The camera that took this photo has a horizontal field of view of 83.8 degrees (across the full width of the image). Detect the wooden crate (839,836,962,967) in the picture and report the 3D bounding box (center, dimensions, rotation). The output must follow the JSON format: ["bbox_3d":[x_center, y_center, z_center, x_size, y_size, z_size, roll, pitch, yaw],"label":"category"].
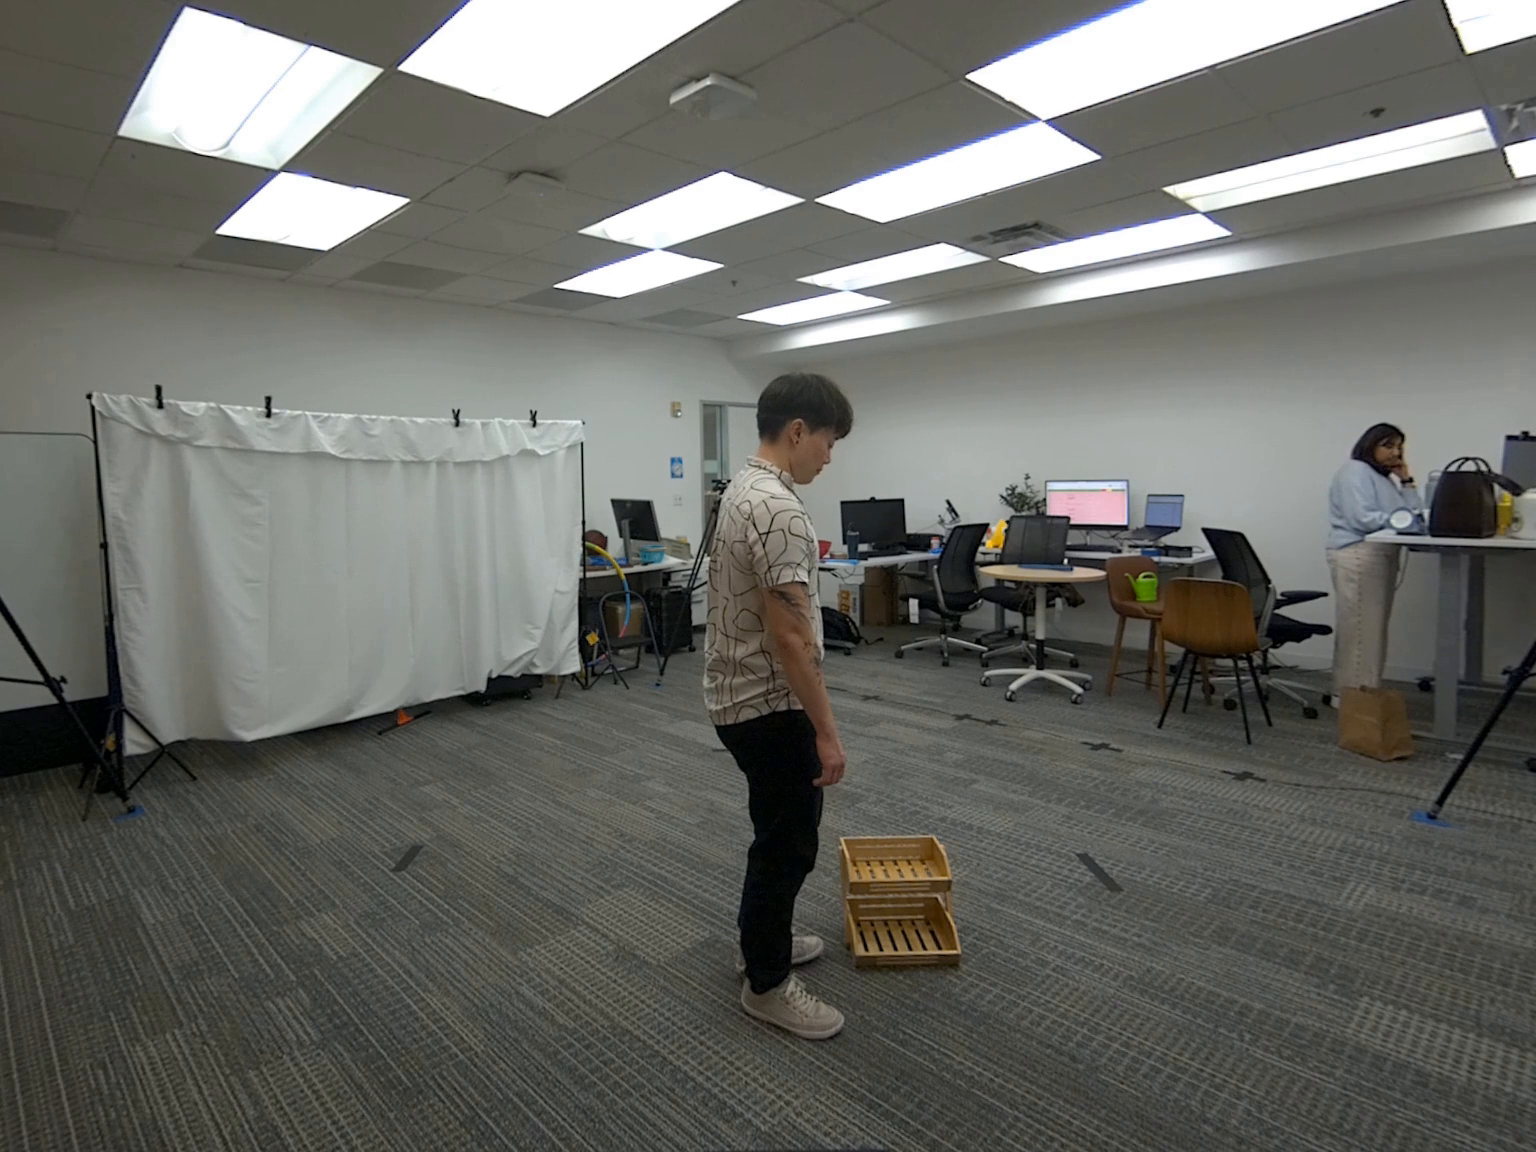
[{"bbox_3d":[0.396,0.970,2.555,0.324,0.272,0.304,-1,5,-3],"label":"wooden crate"}]
